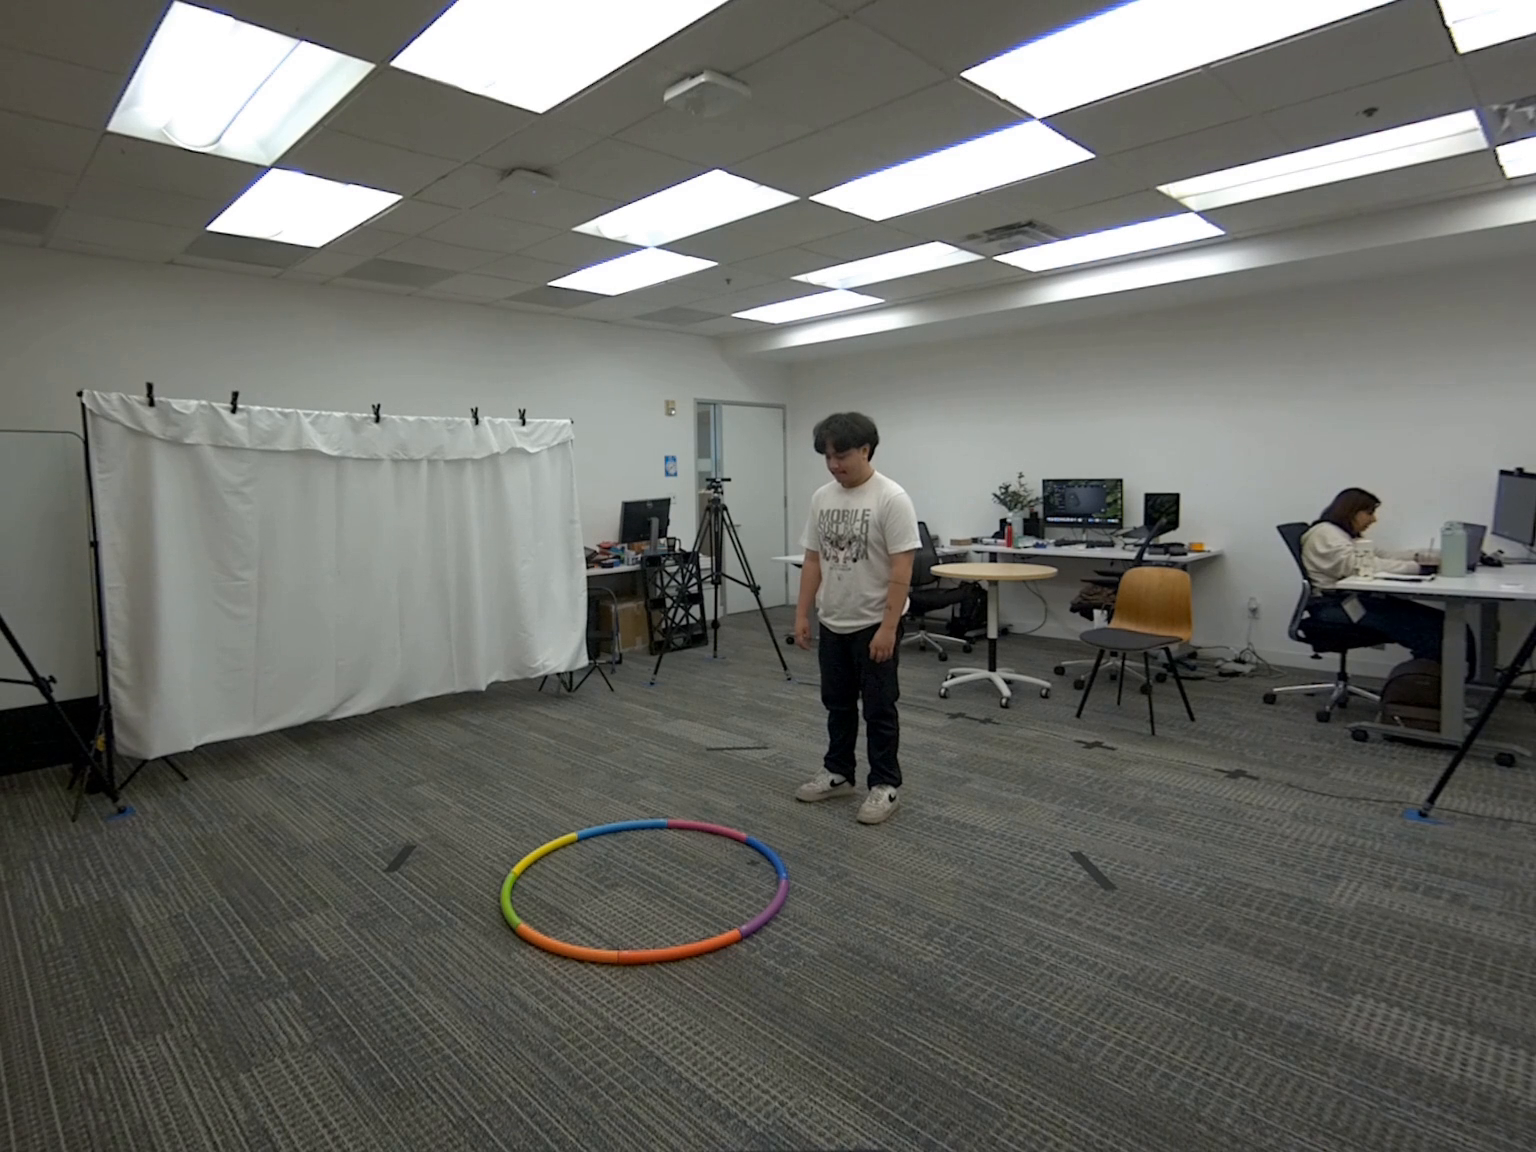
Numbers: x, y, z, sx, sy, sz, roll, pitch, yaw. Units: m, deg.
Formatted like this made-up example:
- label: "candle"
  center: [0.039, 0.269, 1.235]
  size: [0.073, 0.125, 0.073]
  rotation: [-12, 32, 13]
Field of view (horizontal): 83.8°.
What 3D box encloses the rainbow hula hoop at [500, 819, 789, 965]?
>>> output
- label: "rainbow hula hoop"
  center: [-0.418, 1.040, 2.953]
  size: [0.985, 0.051, 0.991]
  rotation: [-1, 6, -2]
